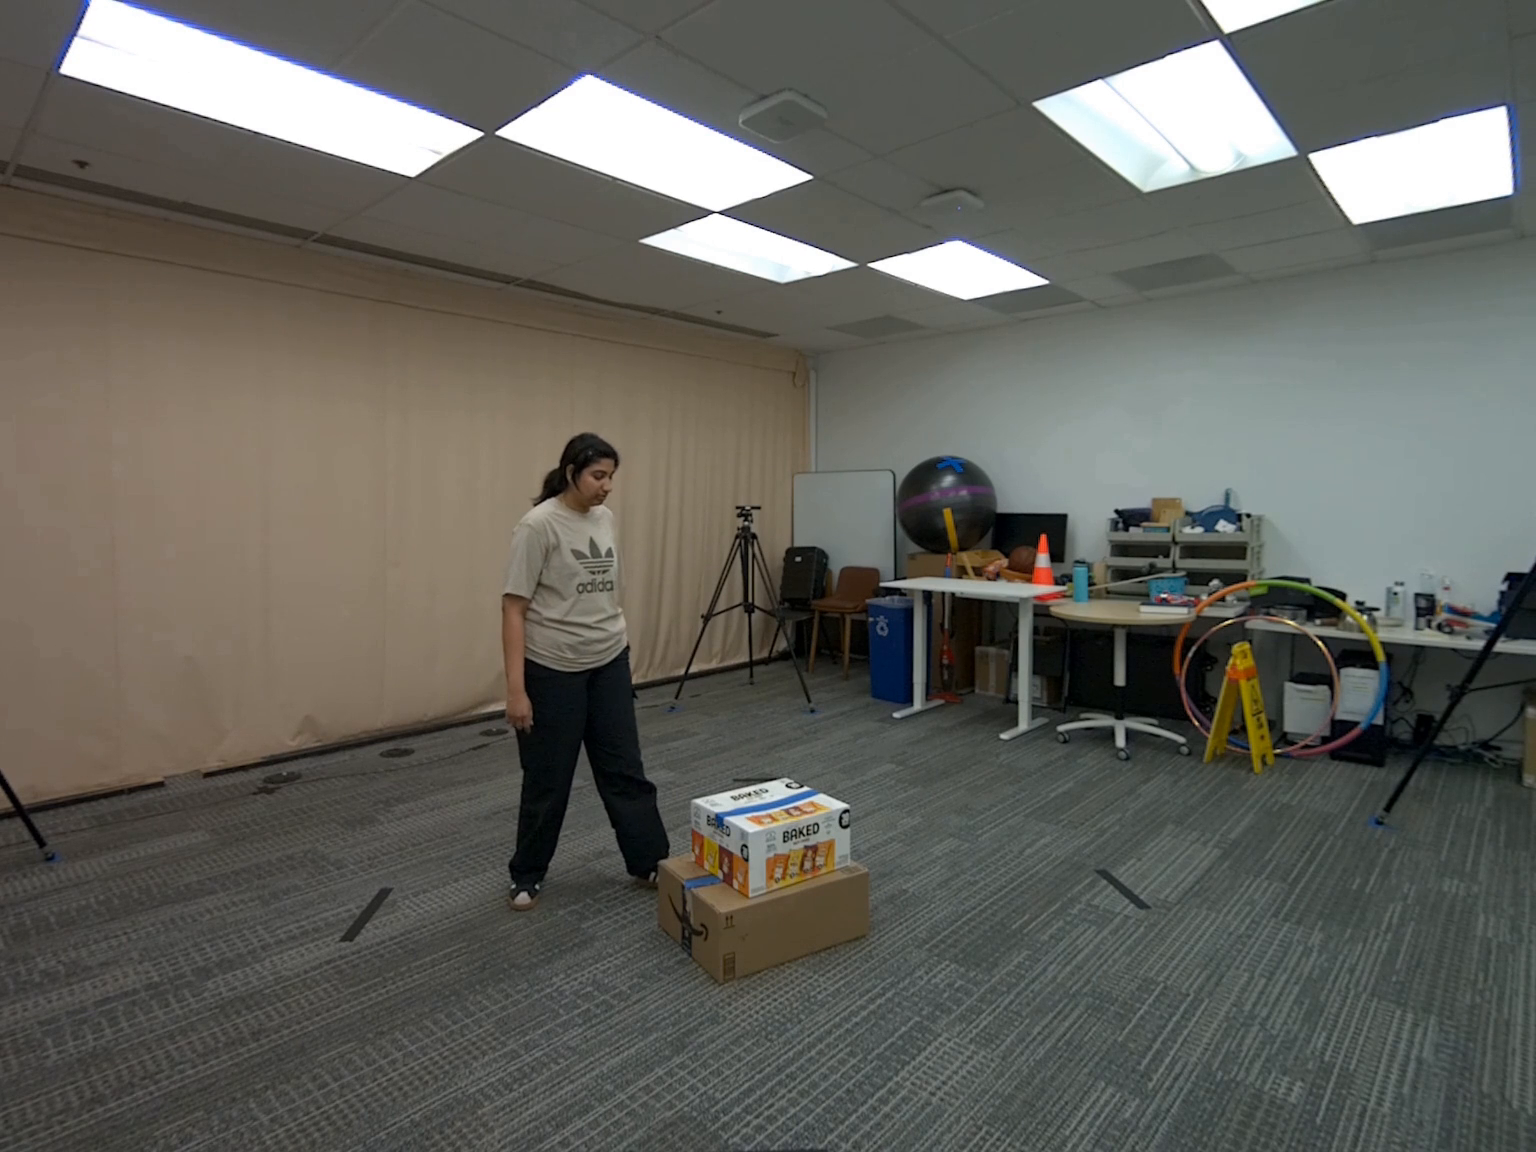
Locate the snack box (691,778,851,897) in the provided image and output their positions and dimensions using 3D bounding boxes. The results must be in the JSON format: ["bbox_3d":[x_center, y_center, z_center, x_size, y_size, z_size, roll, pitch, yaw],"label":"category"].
[{"bbox_3d":[0.009,0.850,2.770,0.393,0.205,0.351,-3,5,-35],"label":"snack box"}]
